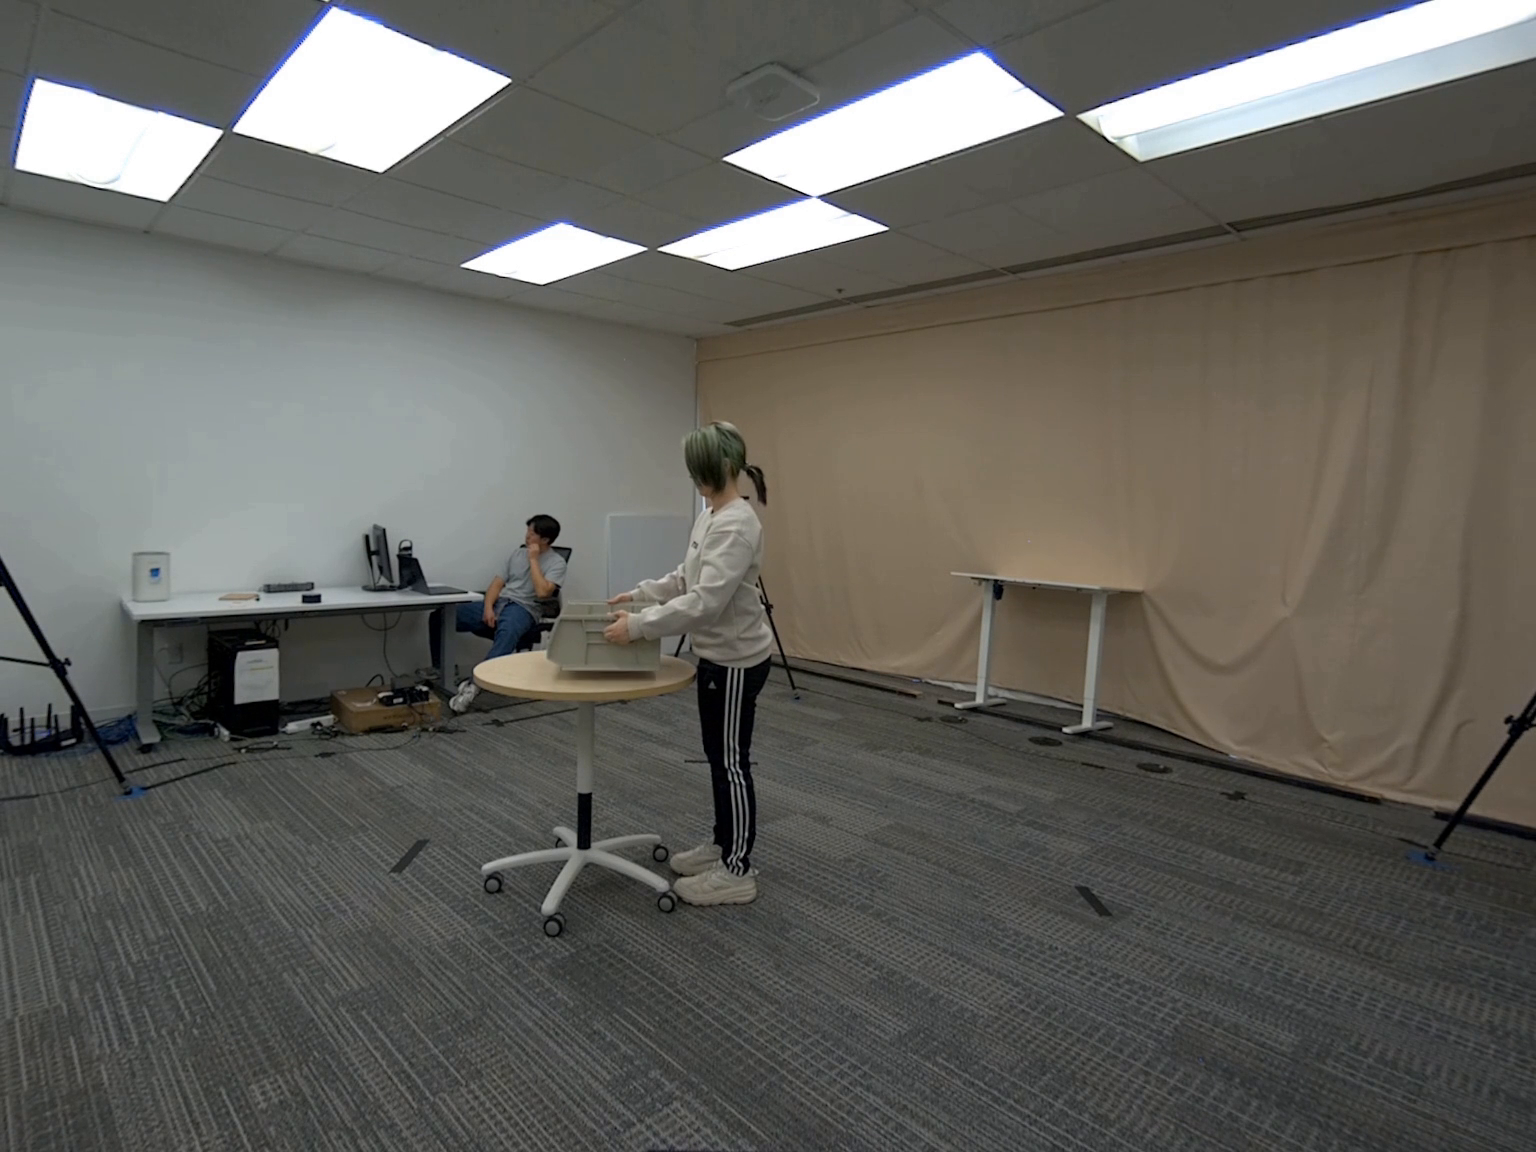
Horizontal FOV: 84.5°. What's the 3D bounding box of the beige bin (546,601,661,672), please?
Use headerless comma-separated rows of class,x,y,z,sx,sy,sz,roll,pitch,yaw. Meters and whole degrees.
beige bin,-0.569,0.198,2.938,0.375,0.188,0.426,2,3,-9
